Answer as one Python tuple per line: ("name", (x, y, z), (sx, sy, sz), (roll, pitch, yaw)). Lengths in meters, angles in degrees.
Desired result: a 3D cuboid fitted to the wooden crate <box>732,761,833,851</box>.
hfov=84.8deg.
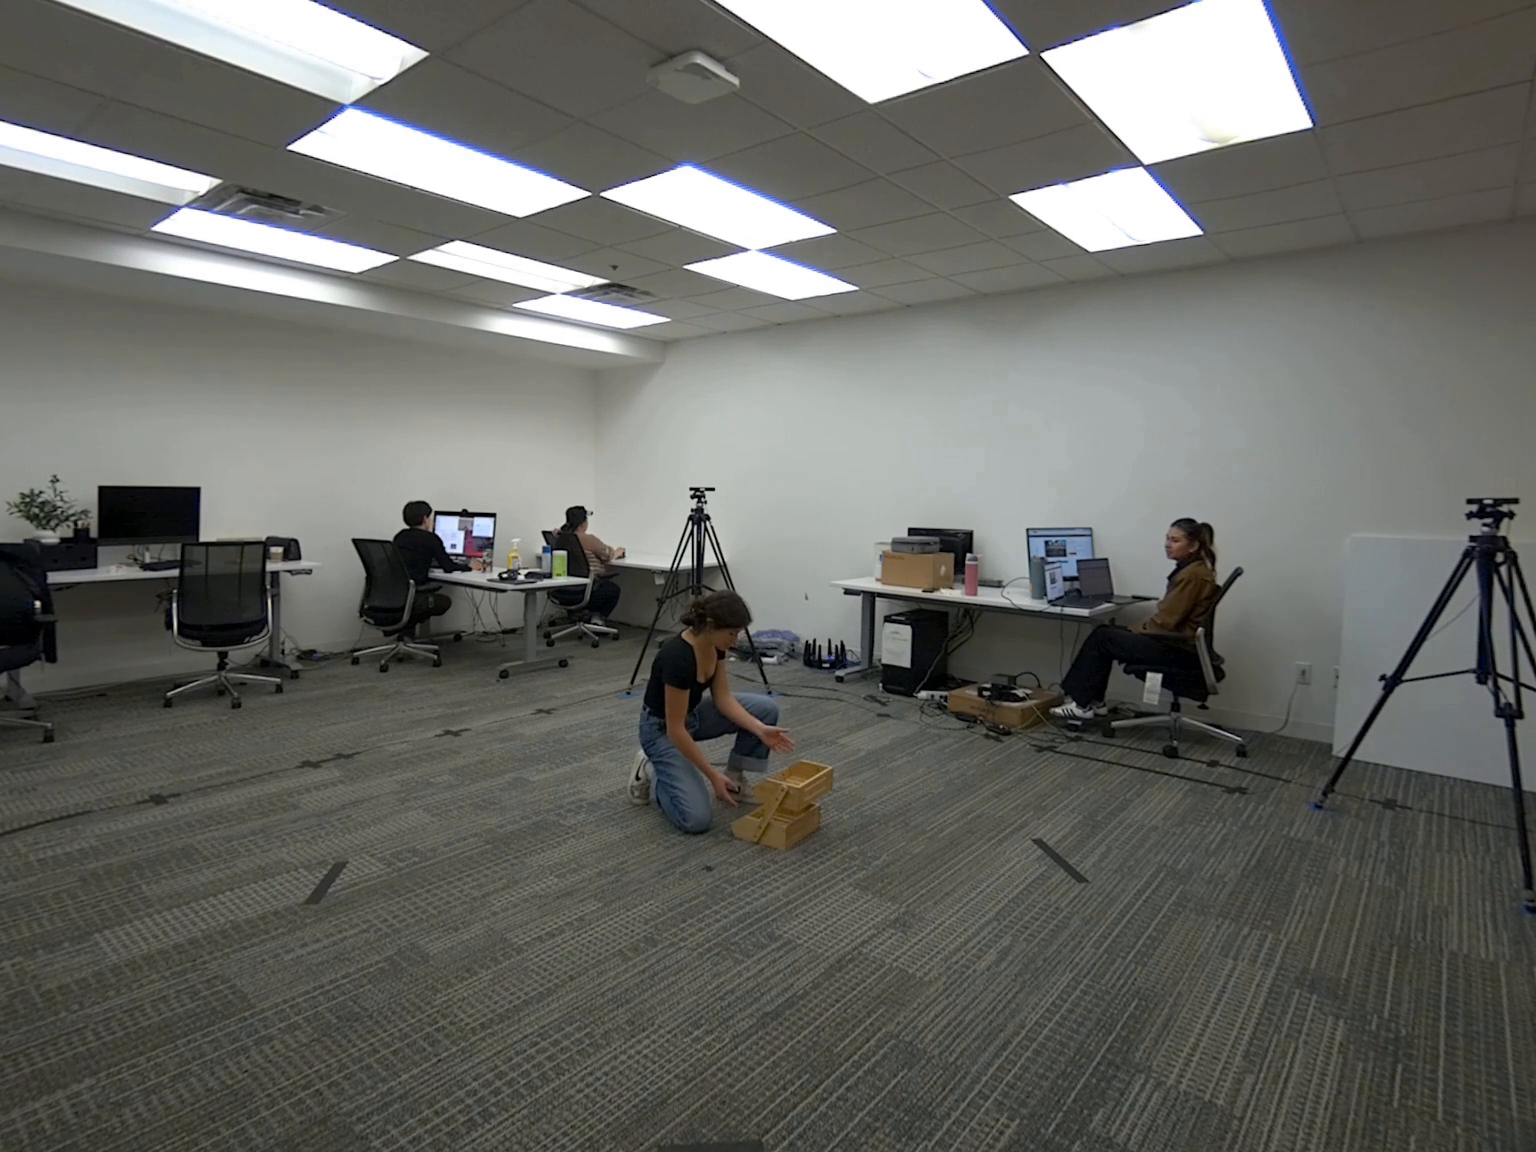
("wooden crate", (0.053, 0.906, 3.449), (0.311, 0.272, 0.316), (5, 5, 31))
